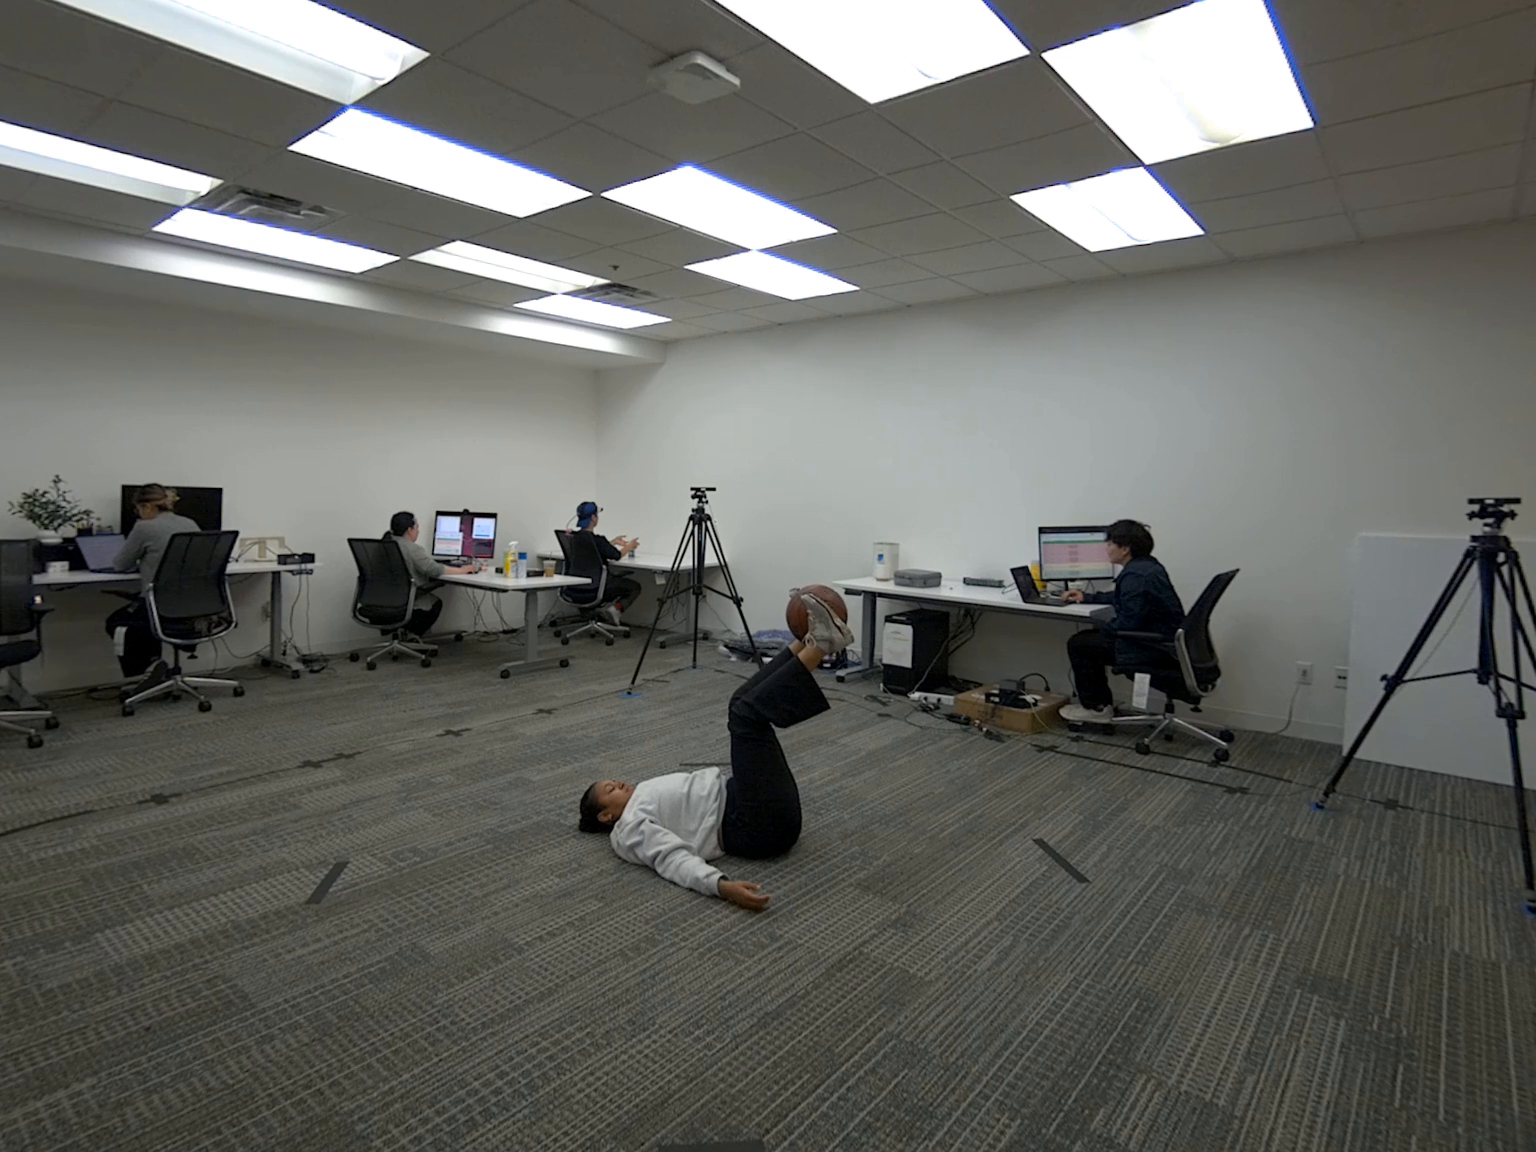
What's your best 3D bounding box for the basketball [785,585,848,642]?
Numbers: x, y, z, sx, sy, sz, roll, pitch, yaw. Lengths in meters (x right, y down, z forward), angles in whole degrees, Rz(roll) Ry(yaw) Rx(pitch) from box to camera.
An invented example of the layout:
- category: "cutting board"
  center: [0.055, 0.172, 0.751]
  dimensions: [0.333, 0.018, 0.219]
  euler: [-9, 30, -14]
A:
- category: "basketball"
  center: [0.183, 0.157, 3.306]
  dimensions: [0.236, 0.234, 0.238]
  euler: [-2, 8, -2]
